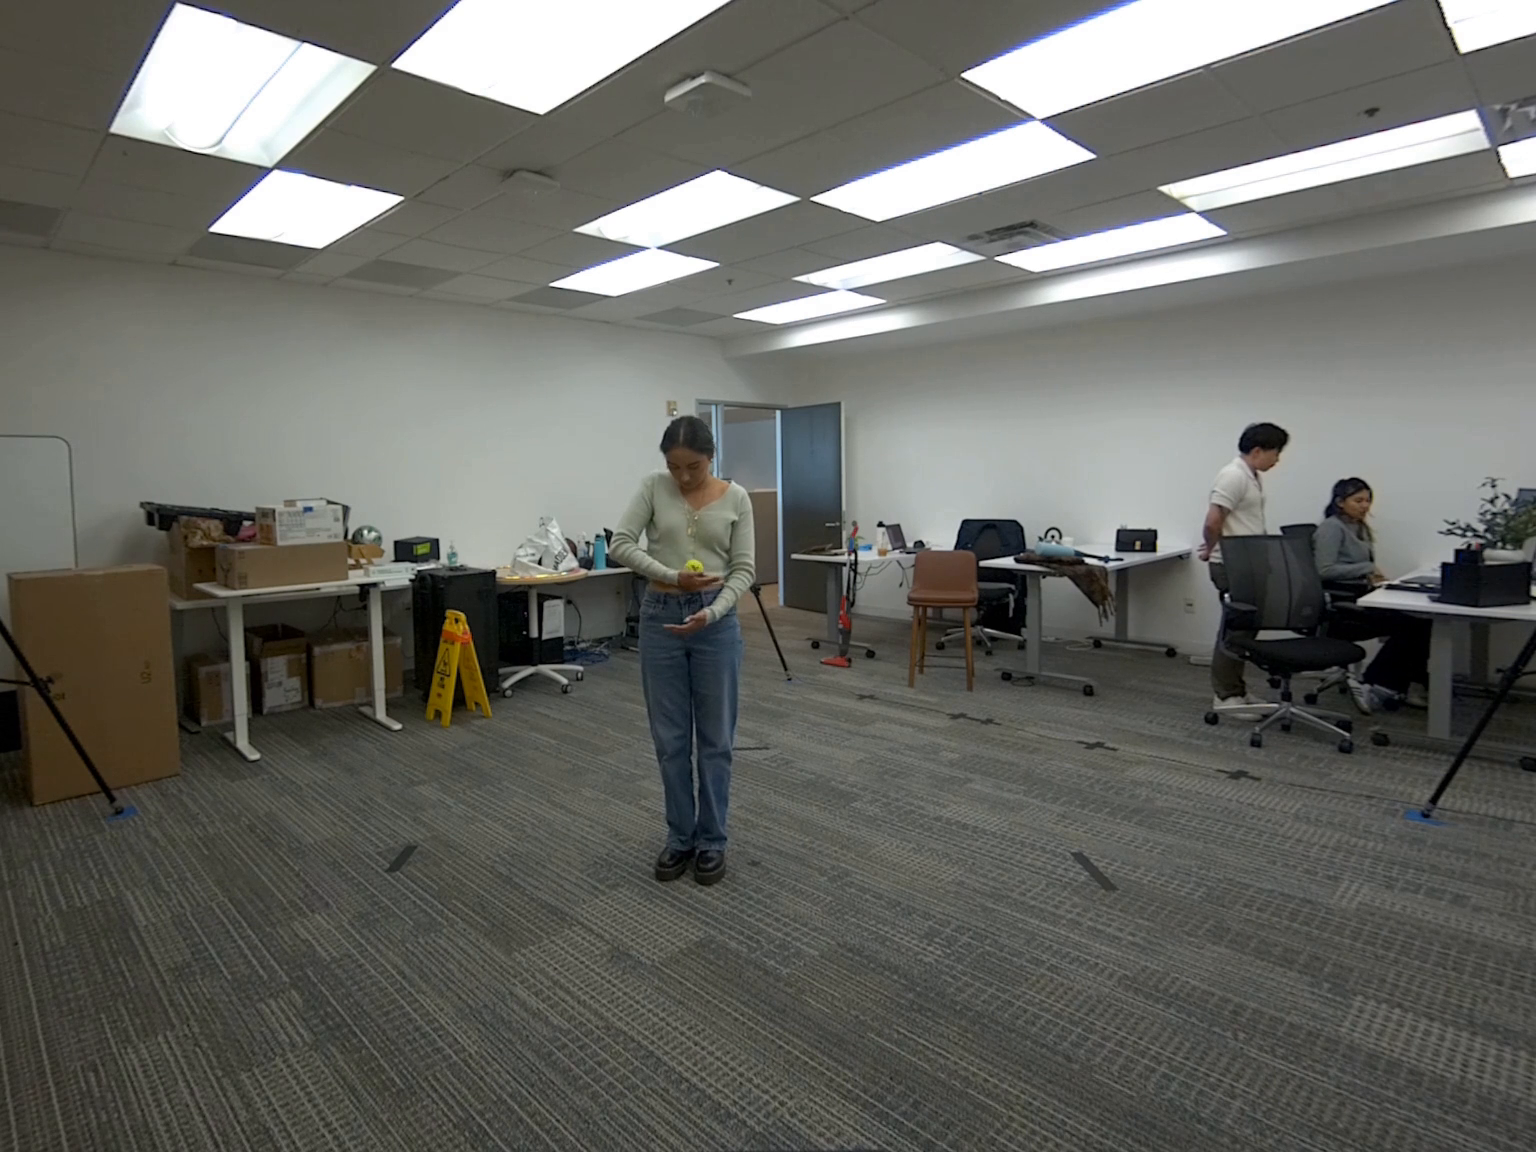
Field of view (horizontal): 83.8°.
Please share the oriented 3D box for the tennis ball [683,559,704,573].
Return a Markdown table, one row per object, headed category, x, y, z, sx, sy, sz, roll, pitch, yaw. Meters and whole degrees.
| category | x | y | z | sx | sy | sz | roll | pitch | yaw |
| --- | --- | --- | --- | --- | --- | --- | --- | --- | --- |
| tennis ball | -0.262 | -0.021 | 2.900 | 0.066 | 0.066 | 0.067 | -1 | 5 | -2 |
